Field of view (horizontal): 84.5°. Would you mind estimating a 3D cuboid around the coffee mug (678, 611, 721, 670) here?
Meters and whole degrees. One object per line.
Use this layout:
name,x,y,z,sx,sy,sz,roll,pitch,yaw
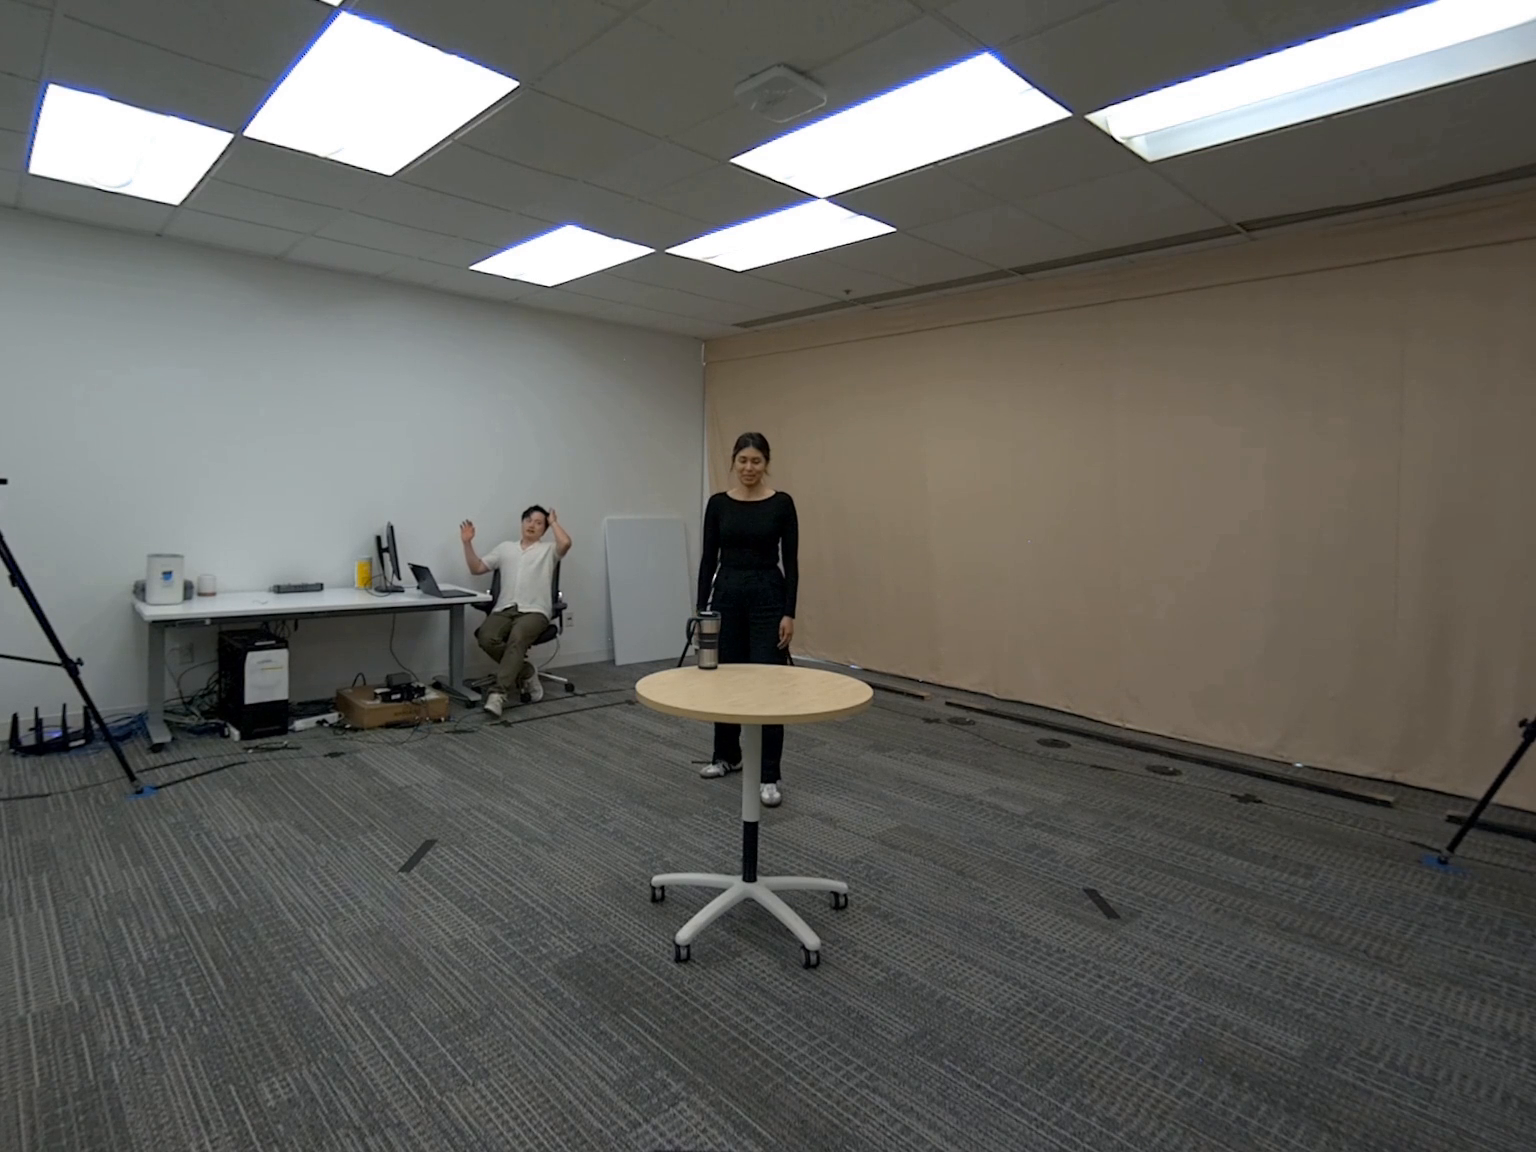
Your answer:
coffee mug,-0.242,0.230,3.033,0.125,0.202,0.086,13,12,42
